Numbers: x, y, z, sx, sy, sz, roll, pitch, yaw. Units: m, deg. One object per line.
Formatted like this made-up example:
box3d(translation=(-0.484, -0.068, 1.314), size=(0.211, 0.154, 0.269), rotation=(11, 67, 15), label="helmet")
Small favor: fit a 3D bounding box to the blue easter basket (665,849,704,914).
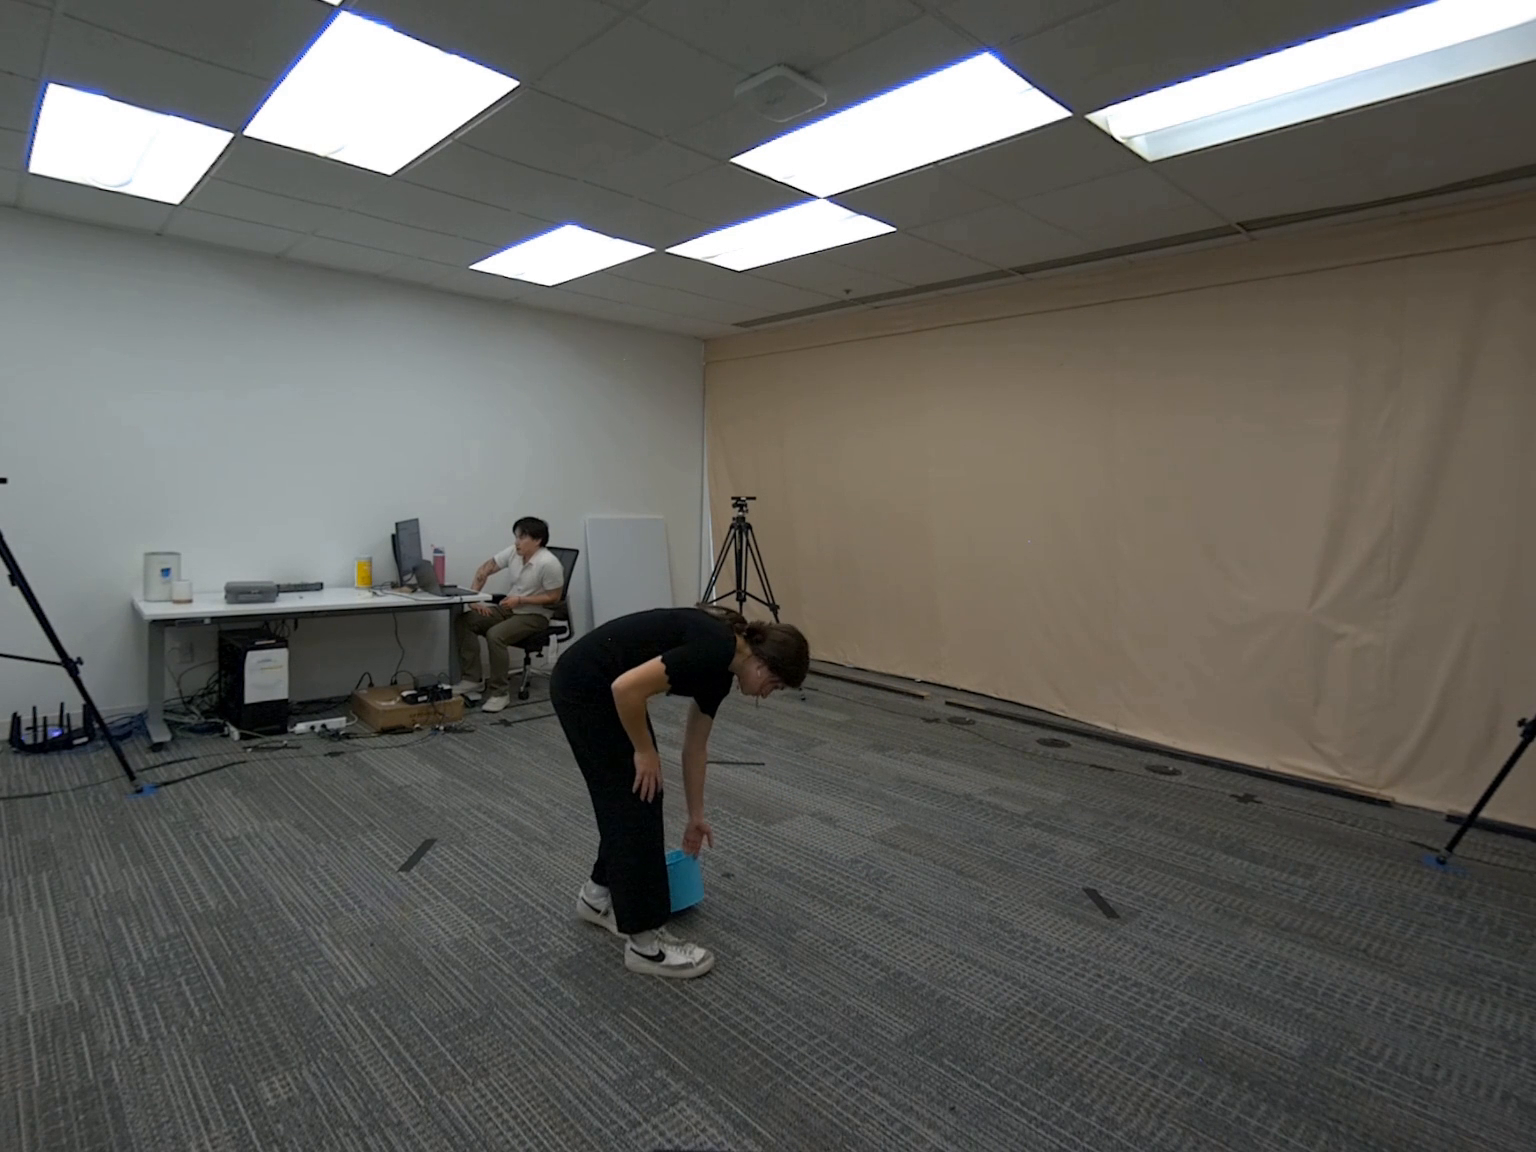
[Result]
box3d(translation=(-0.330, 1.025, 2.818), size=(0.243, 0.157, 0.242), rotation=(-16, -9, -4), label="blue easter basket")
